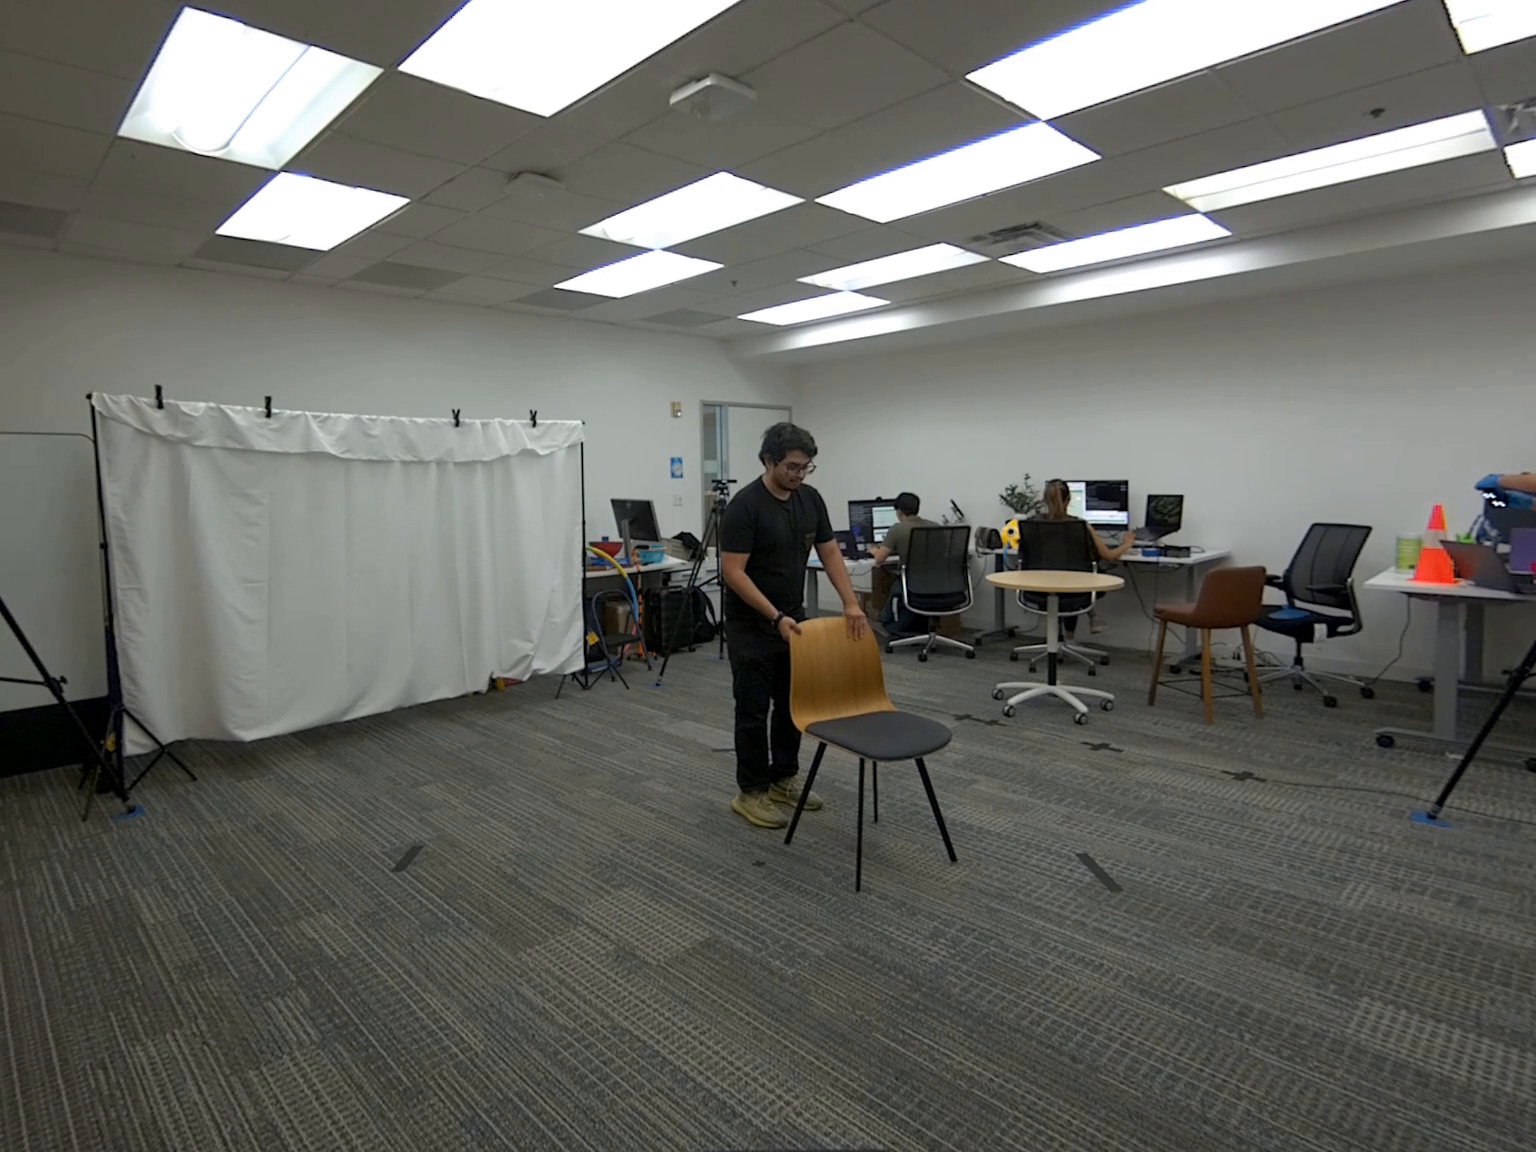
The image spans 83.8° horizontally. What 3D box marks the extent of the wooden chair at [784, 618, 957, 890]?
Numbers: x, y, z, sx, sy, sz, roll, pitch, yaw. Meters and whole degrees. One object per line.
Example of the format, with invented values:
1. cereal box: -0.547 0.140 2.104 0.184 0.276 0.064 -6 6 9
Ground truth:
1. wooden chair: 0.371 0.608 3.149 0.466 0.878 0.536 -3 0 -31
